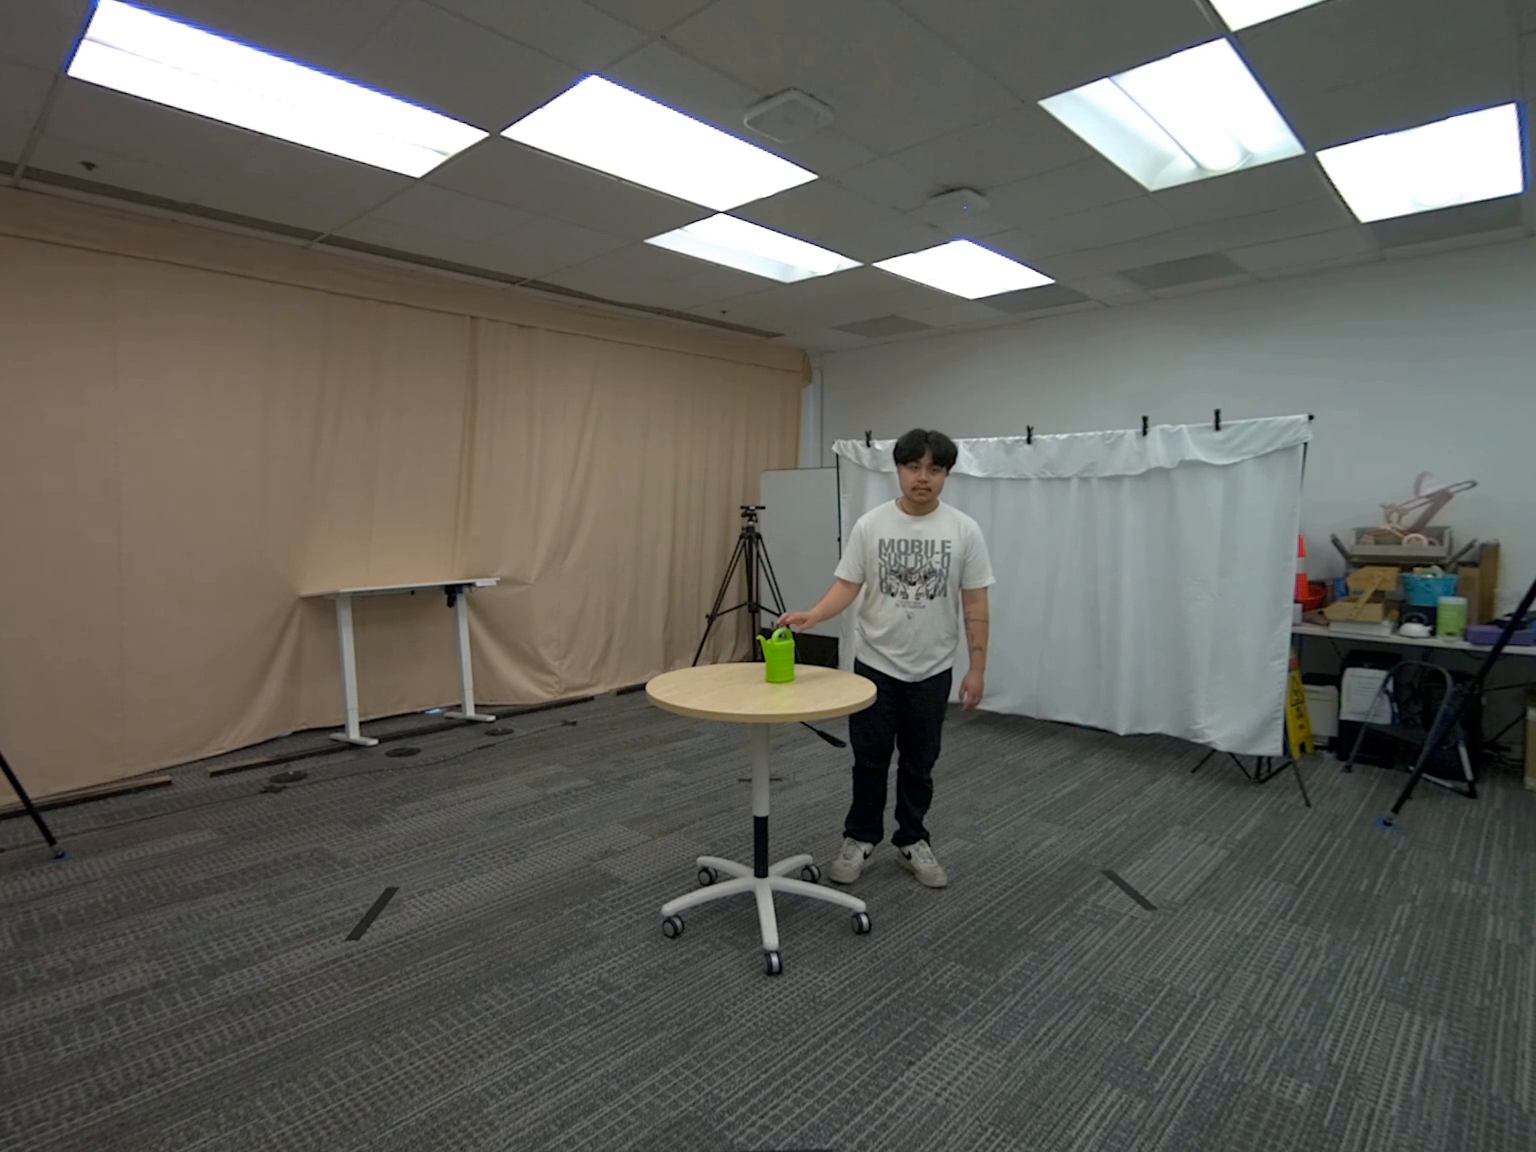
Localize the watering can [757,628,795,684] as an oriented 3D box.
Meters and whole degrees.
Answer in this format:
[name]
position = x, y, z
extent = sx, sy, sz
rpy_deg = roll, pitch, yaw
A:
[watering can]
position = 0.019, 0.276, 2.857
extent = 0.101, 0.176, 0.270
rpy_deg = 6, 5, 38
